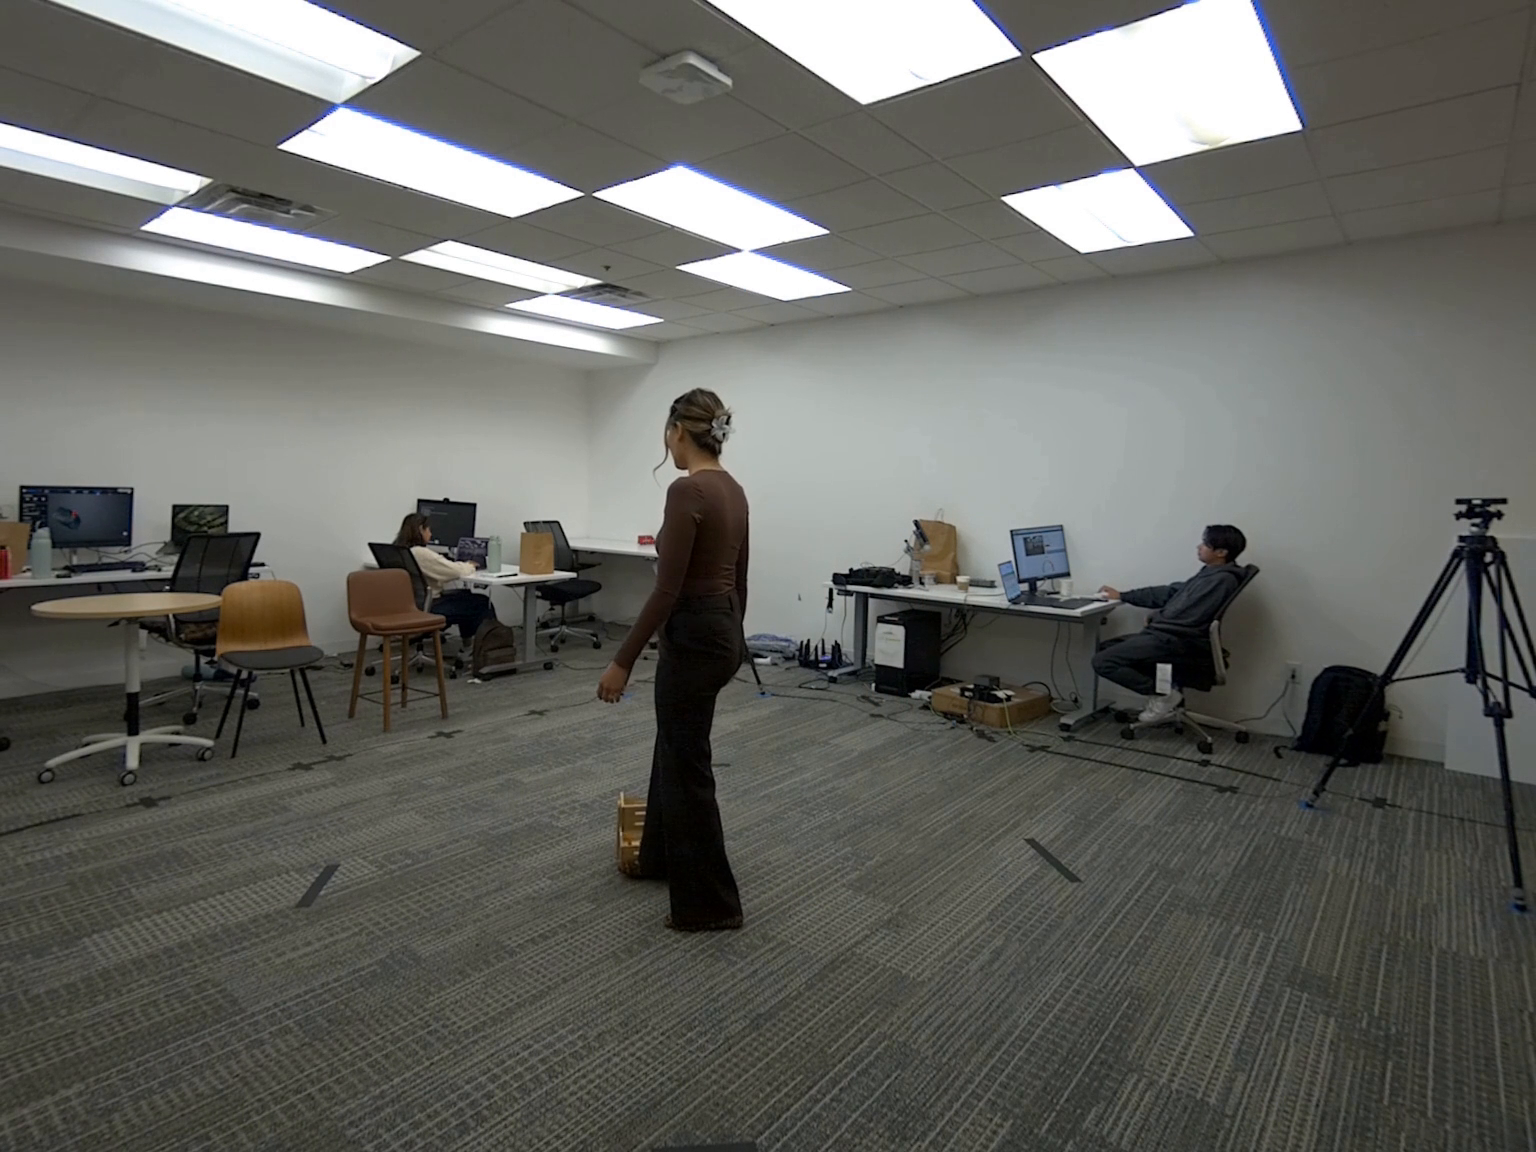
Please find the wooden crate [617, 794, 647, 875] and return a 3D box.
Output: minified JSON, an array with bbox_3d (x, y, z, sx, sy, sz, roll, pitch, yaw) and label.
[{"bbox_3d":[-0.413,0.923,3.186,0.321,0.272,0.306,0,5,-10],"label":"wooden crate"}]
